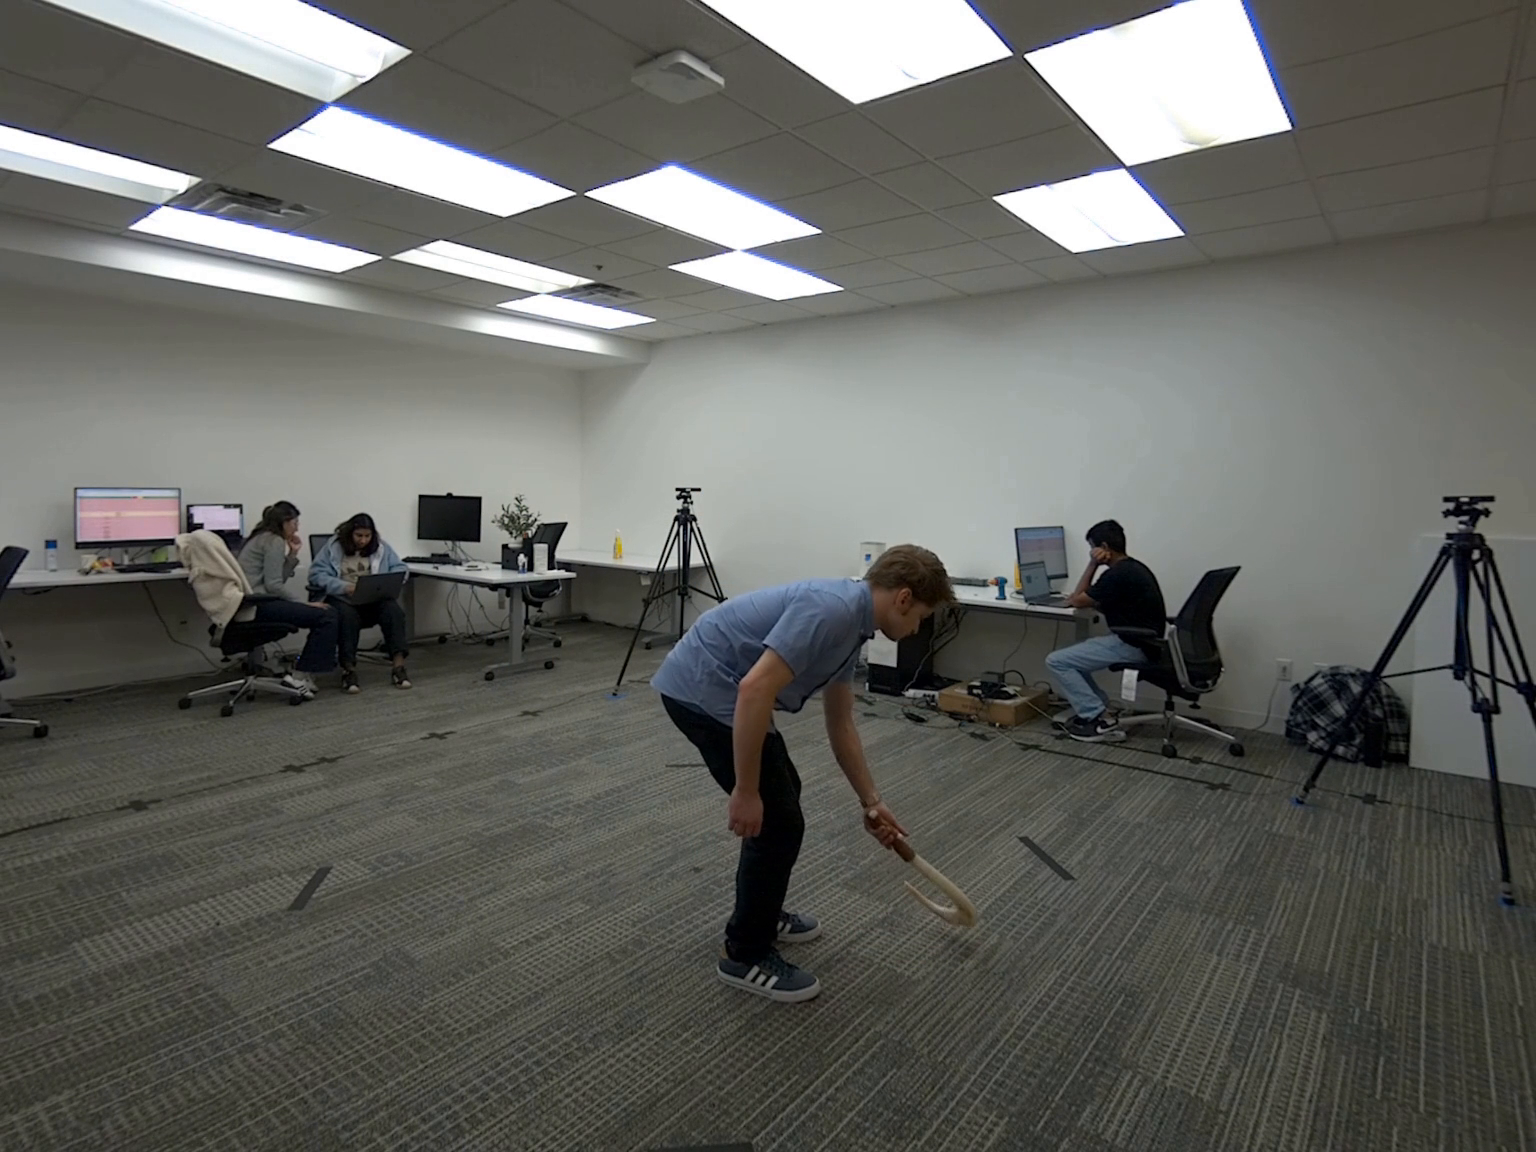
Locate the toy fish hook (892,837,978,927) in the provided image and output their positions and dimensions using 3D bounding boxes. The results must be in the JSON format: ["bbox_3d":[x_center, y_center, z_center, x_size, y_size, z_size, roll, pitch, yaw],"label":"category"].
[{"bbox_3d":[0.434,0.893,2.611,0.227,0.502,0.048,-34,10,50],"label":"toy fish hook"}]
